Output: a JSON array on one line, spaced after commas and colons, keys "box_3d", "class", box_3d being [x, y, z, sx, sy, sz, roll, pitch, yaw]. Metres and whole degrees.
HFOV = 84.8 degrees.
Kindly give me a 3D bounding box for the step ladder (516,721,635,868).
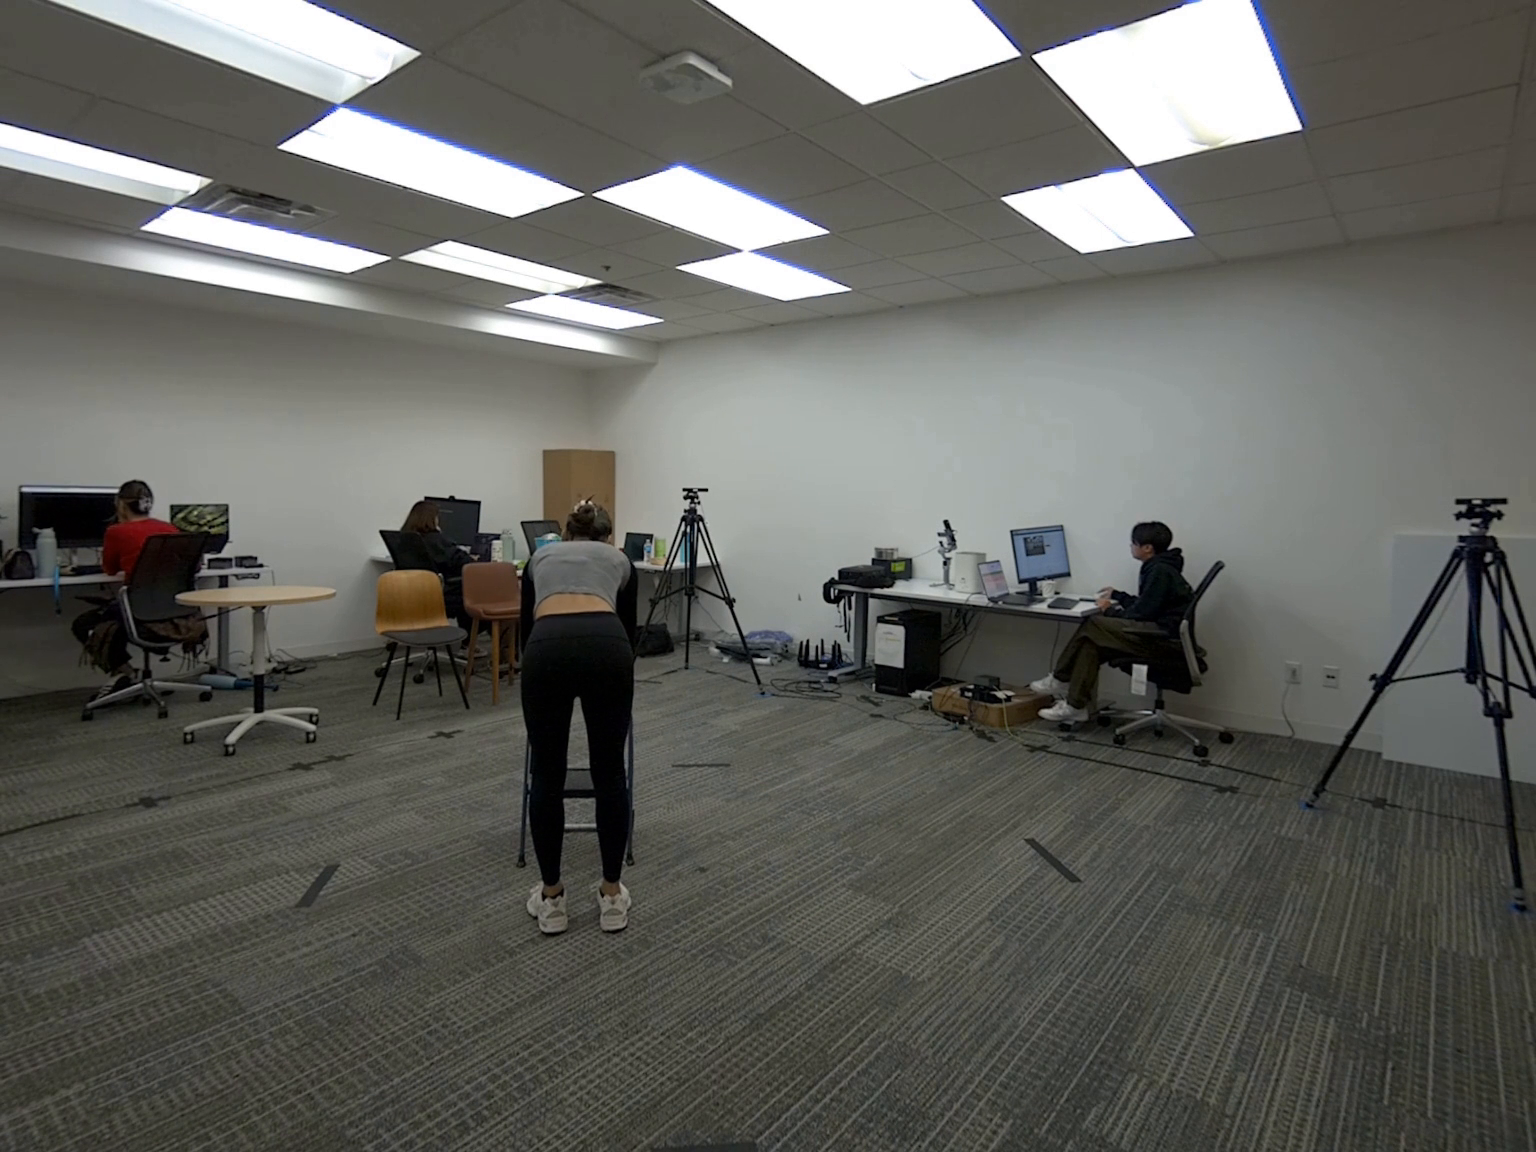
[{"box_3d": [-0.732, 0.743, 3.271, 0.428, 0.604, 0.353, 0, 4, -7], "class": "step ladder"}]
